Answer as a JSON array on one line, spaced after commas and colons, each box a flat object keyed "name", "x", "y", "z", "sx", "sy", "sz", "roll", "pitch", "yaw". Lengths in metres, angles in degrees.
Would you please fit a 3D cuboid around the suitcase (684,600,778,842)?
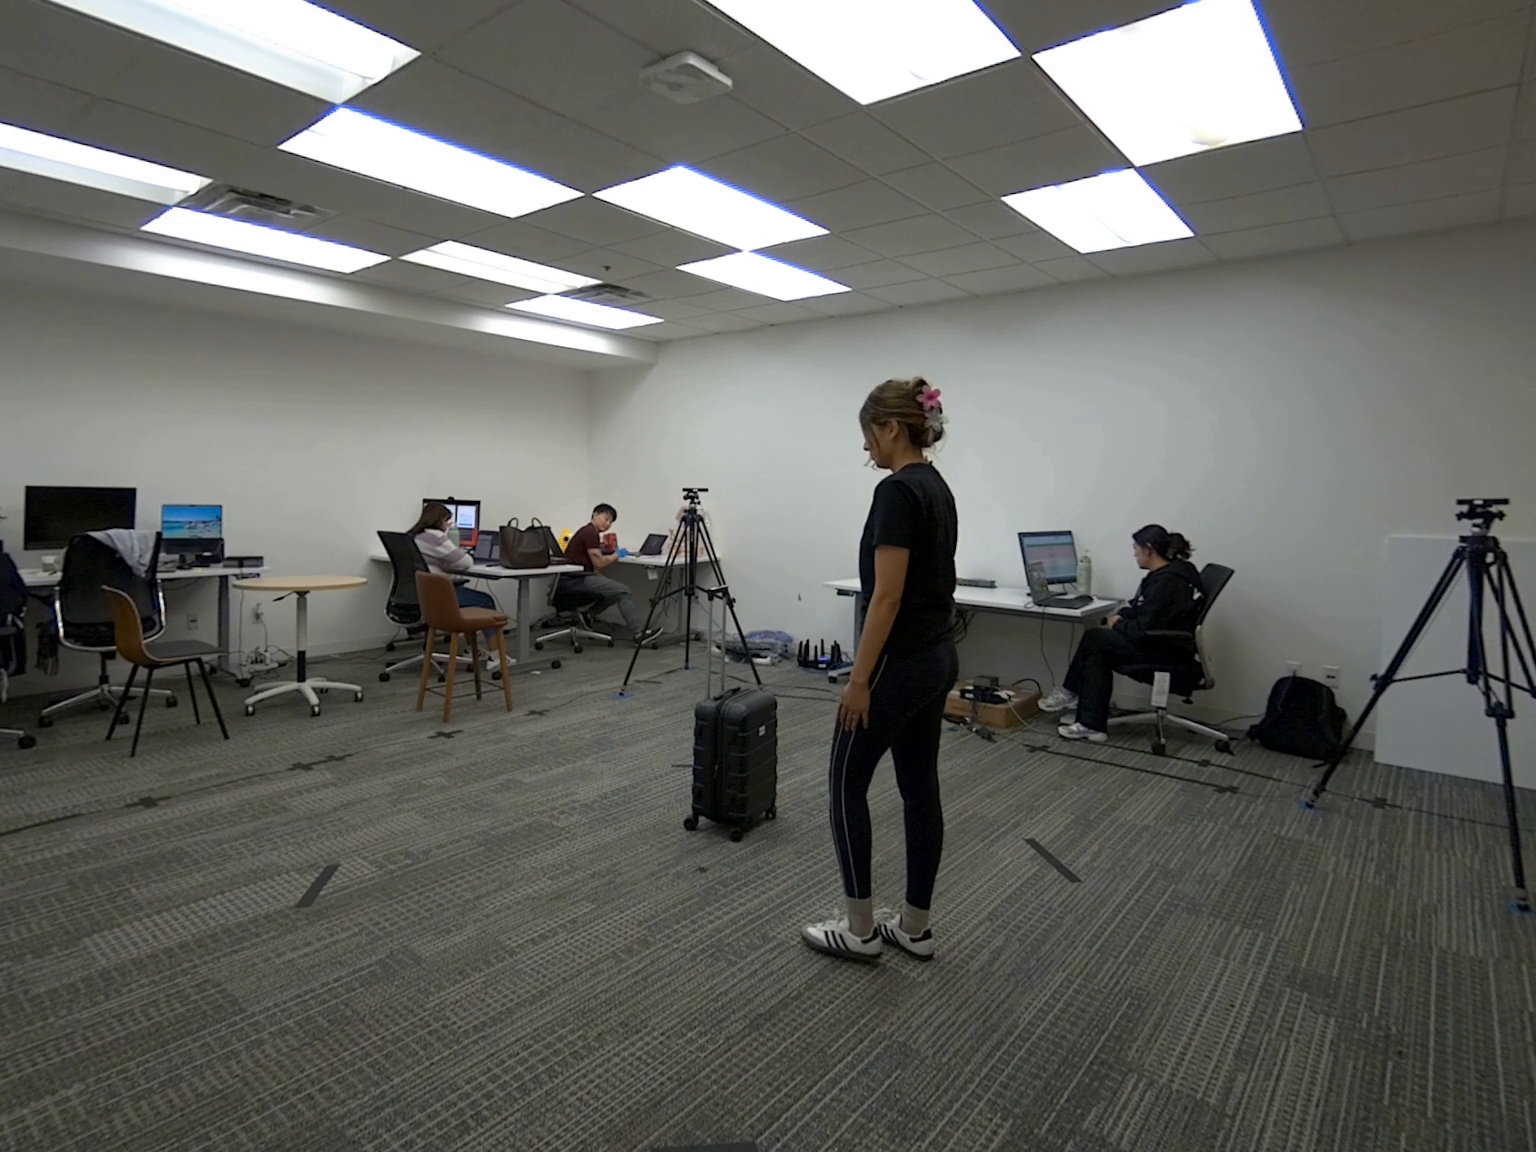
[{"name": "suitcase", "x": -0.132, "y": 0.554, "z": 3.540, "sx": 0.264, "sy": 0.976, "sz": 0.374, "roll": 4, "pitch": 3, "yaw": 25}]
